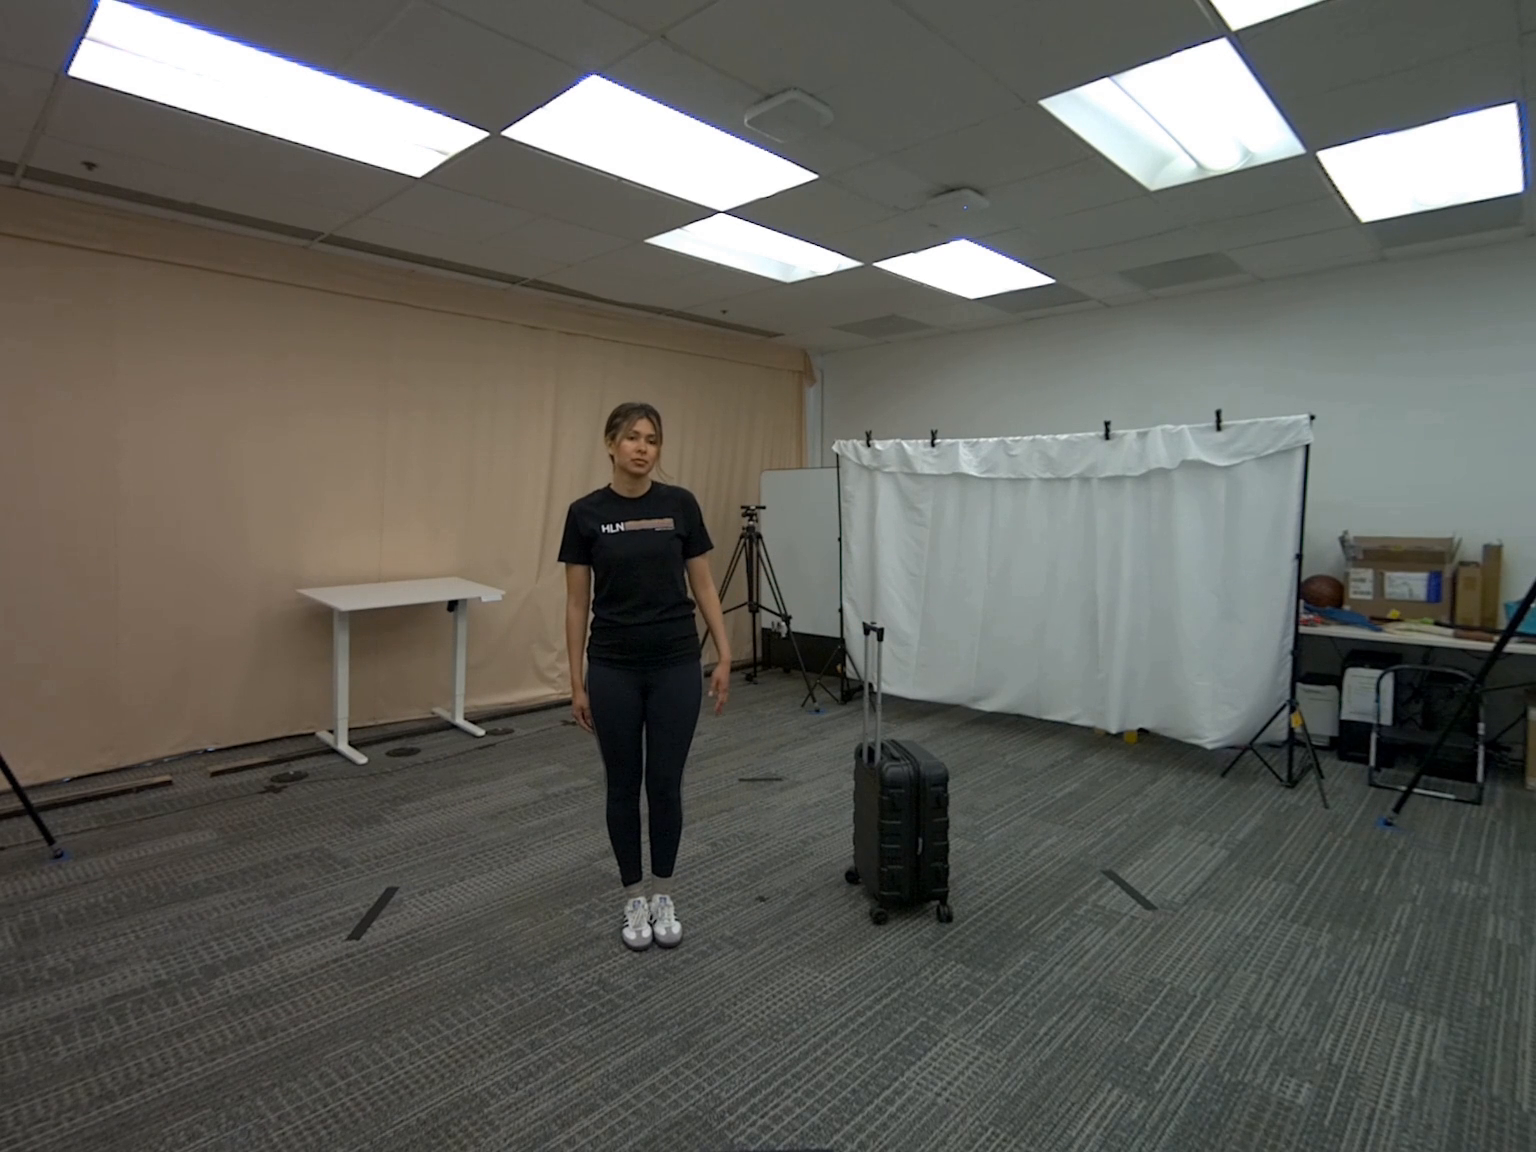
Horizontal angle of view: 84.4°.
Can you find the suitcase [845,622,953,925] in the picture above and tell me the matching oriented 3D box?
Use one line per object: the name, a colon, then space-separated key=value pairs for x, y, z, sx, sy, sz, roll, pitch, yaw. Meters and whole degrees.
suitcase: x=0.467 y=0.666 z=2.945 sx=0.255 sy=0.976 sz=0.387 roll=1 pitch=3 yaw=-7
